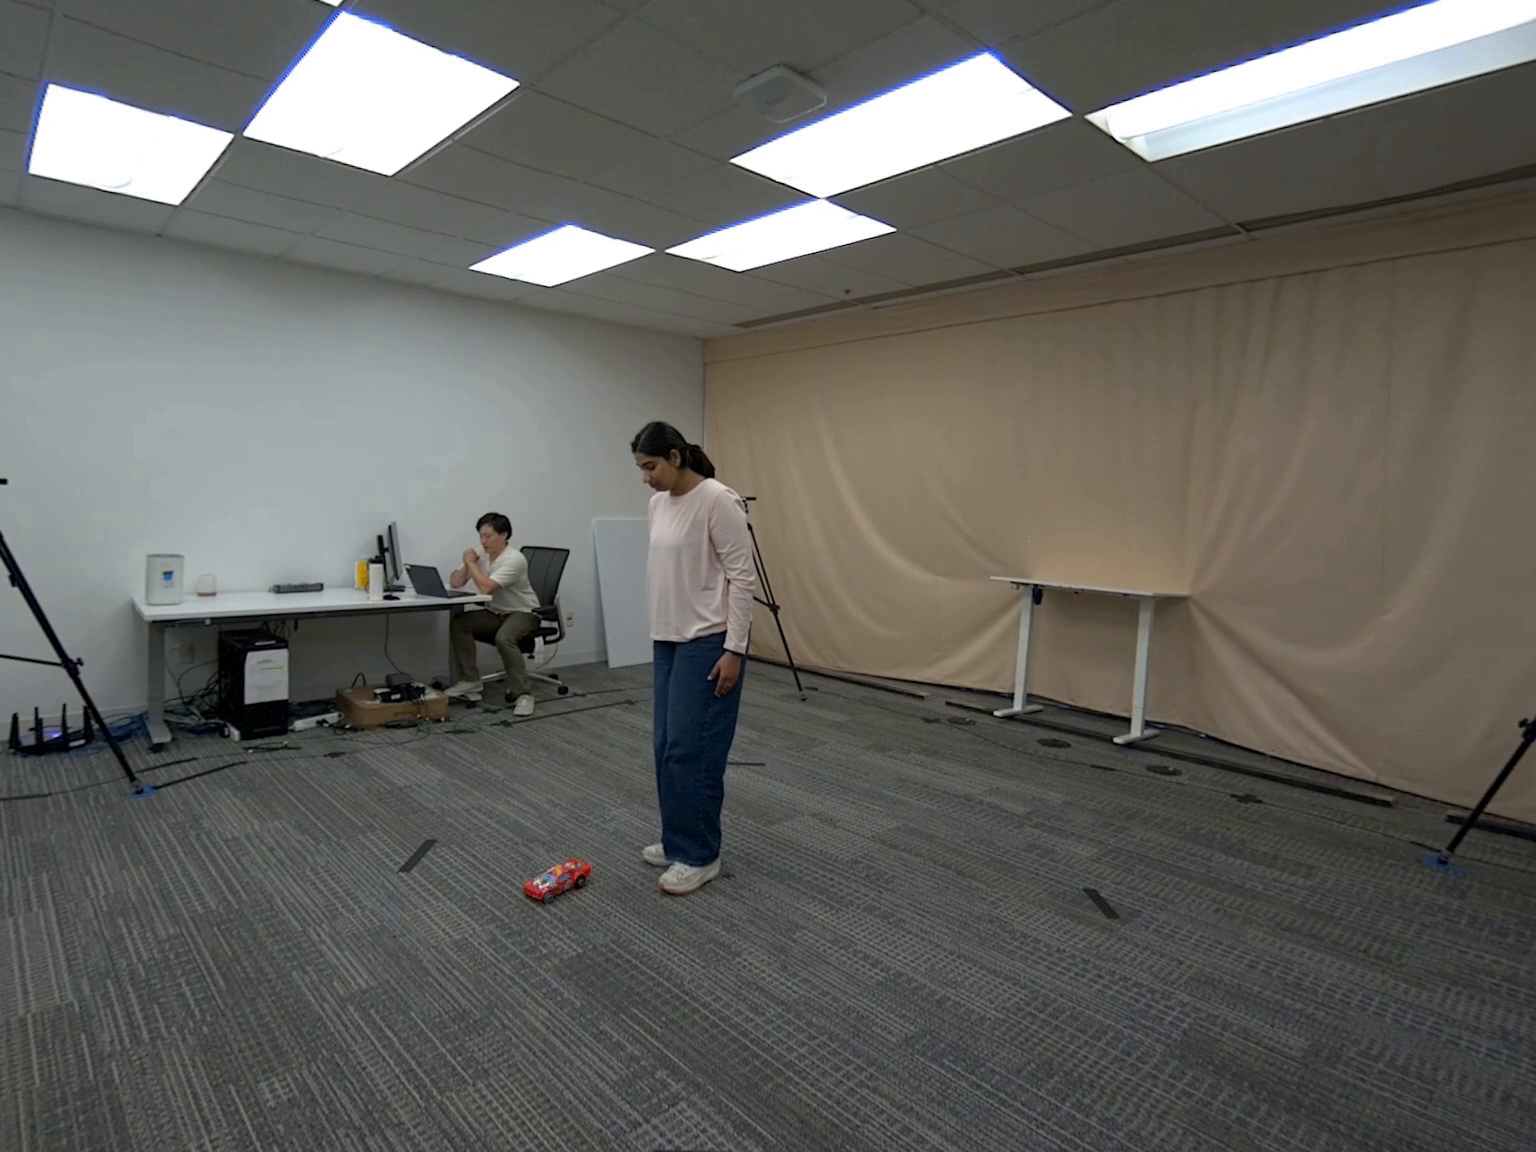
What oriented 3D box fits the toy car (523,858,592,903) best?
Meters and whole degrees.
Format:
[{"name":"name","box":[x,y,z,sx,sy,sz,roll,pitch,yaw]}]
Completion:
[{"name":"toy car","box":[-0.748,1.079,2.965,0.133,0.082,0.251,4,16,36]}]
